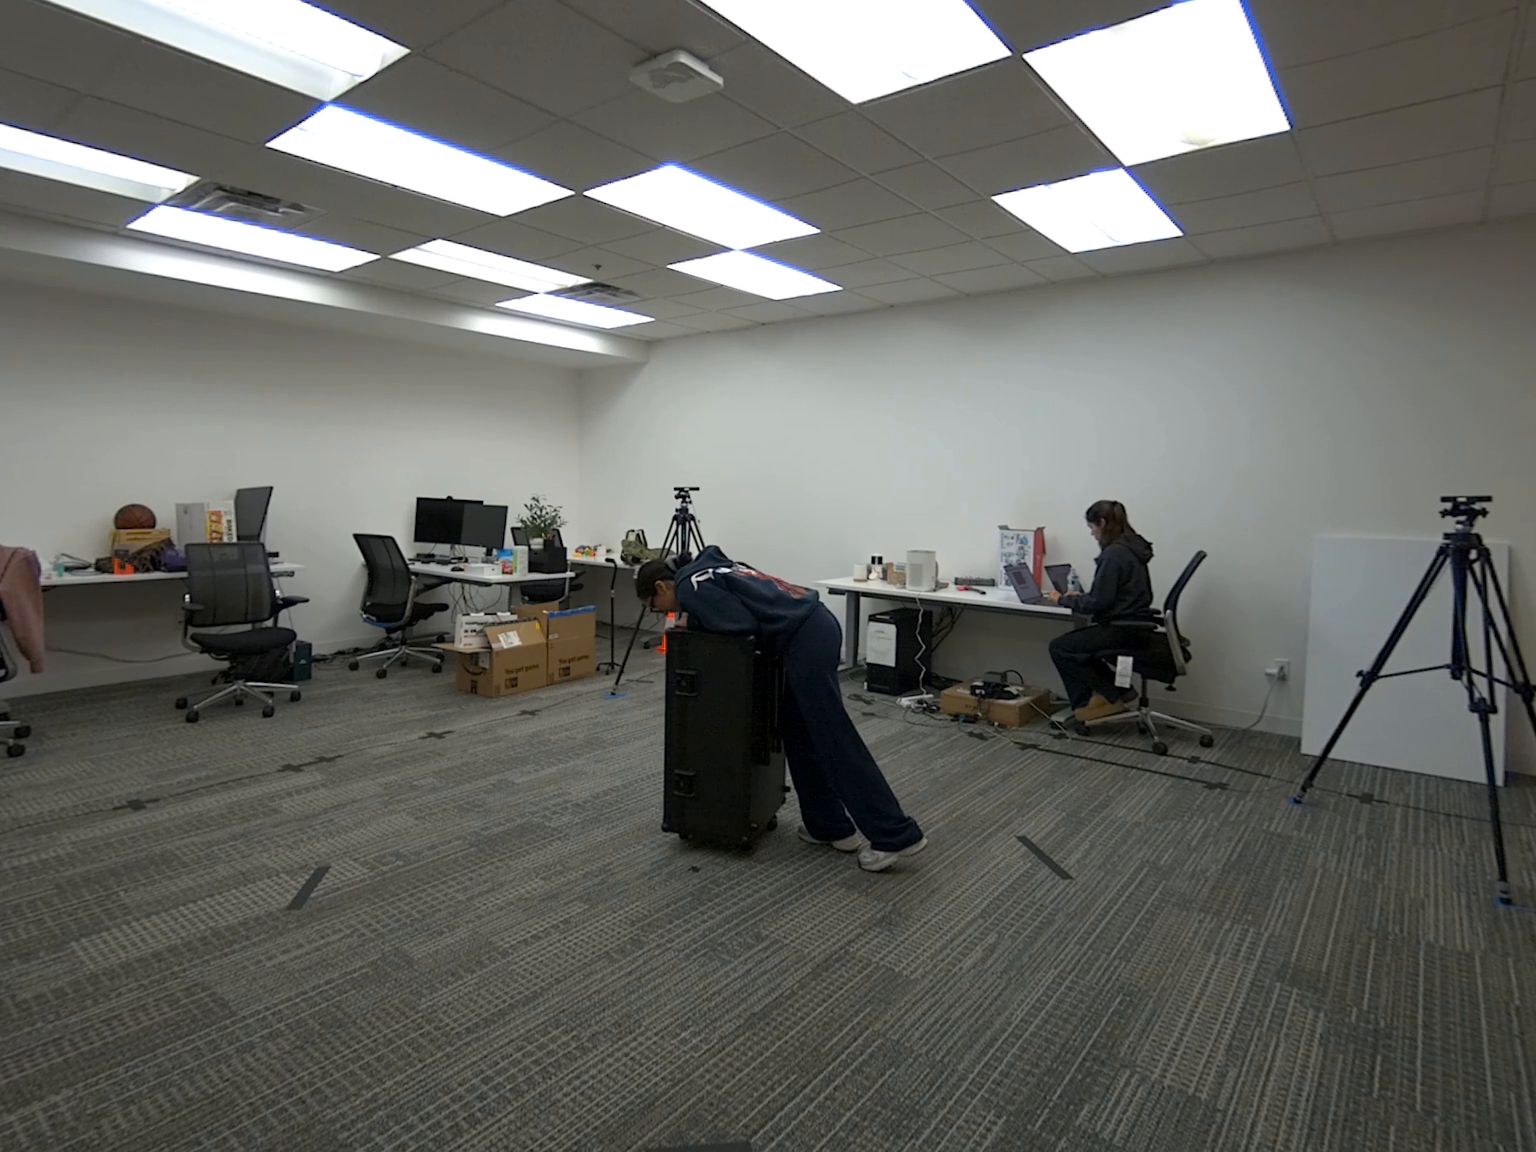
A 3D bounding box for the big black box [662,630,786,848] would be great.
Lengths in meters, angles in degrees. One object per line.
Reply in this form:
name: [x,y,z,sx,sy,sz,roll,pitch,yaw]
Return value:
big black box: [-0.159,0.615,3.411,0.405,0.859,0.512,3,4,18]
